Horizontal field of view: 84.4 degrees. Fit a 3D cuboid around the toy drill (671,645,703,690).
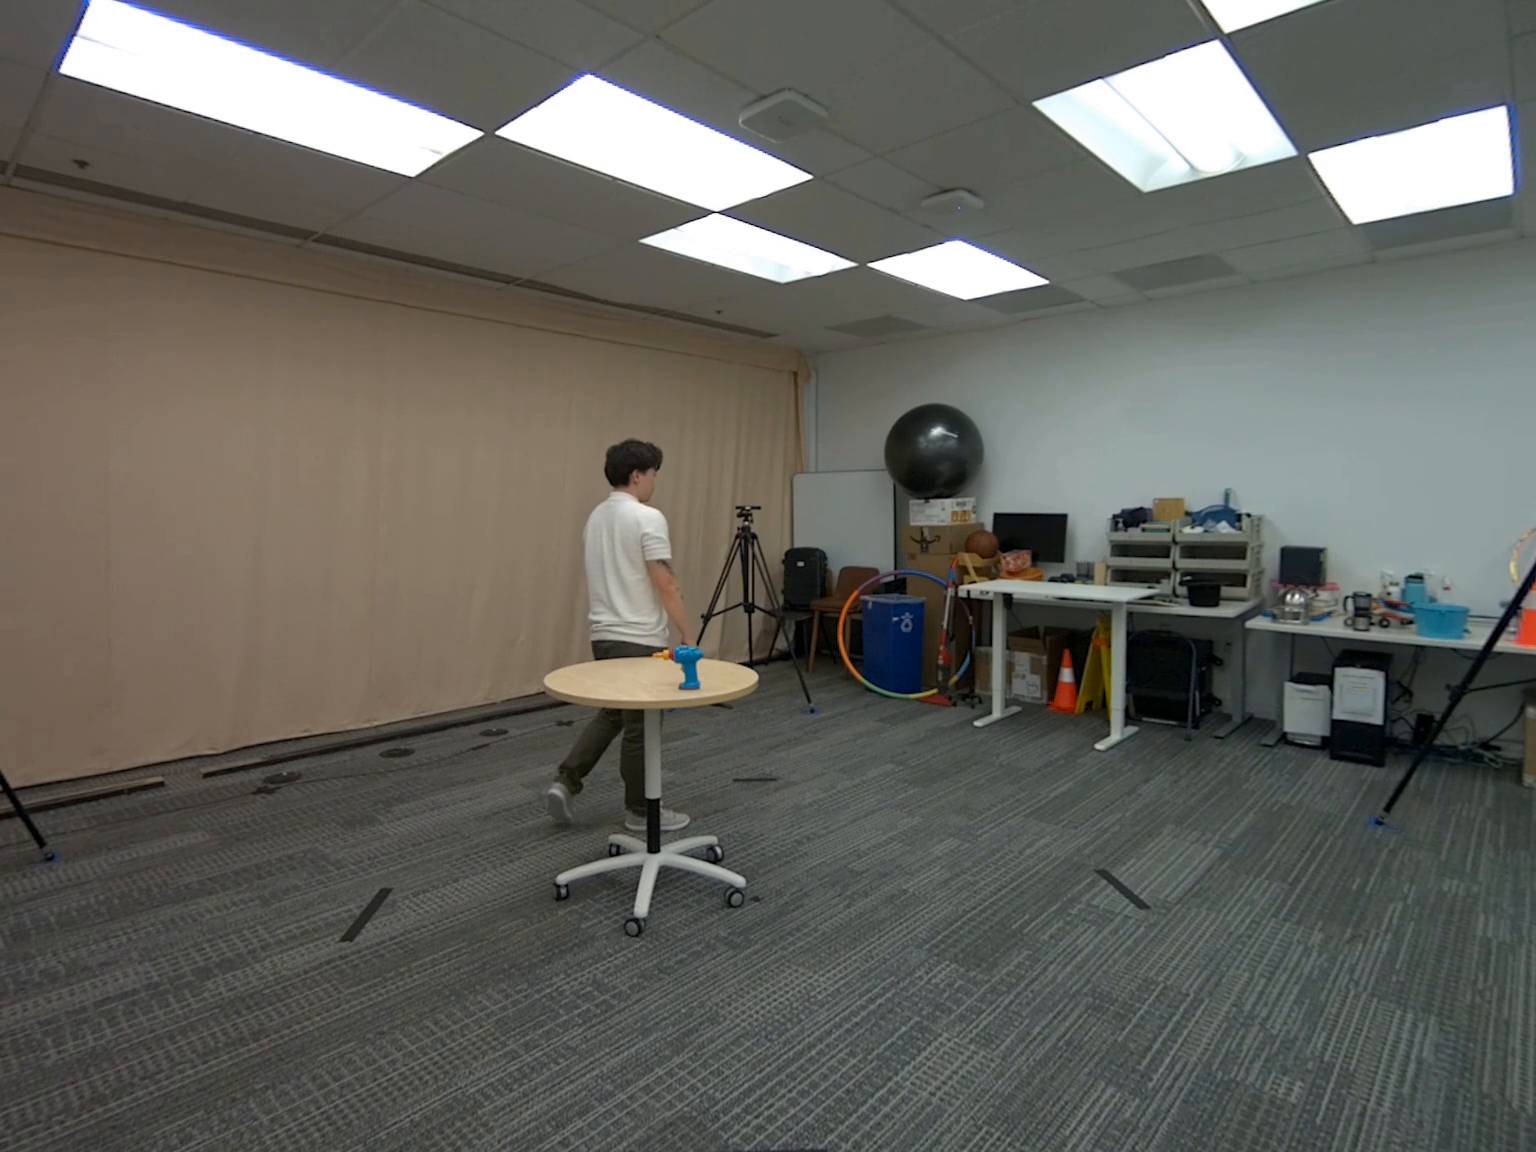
[{"bbox_3d":[-0.307,0.302,2.815,0.169,0.145,0.061,0,5,-1],"label":"toy drill"}]
